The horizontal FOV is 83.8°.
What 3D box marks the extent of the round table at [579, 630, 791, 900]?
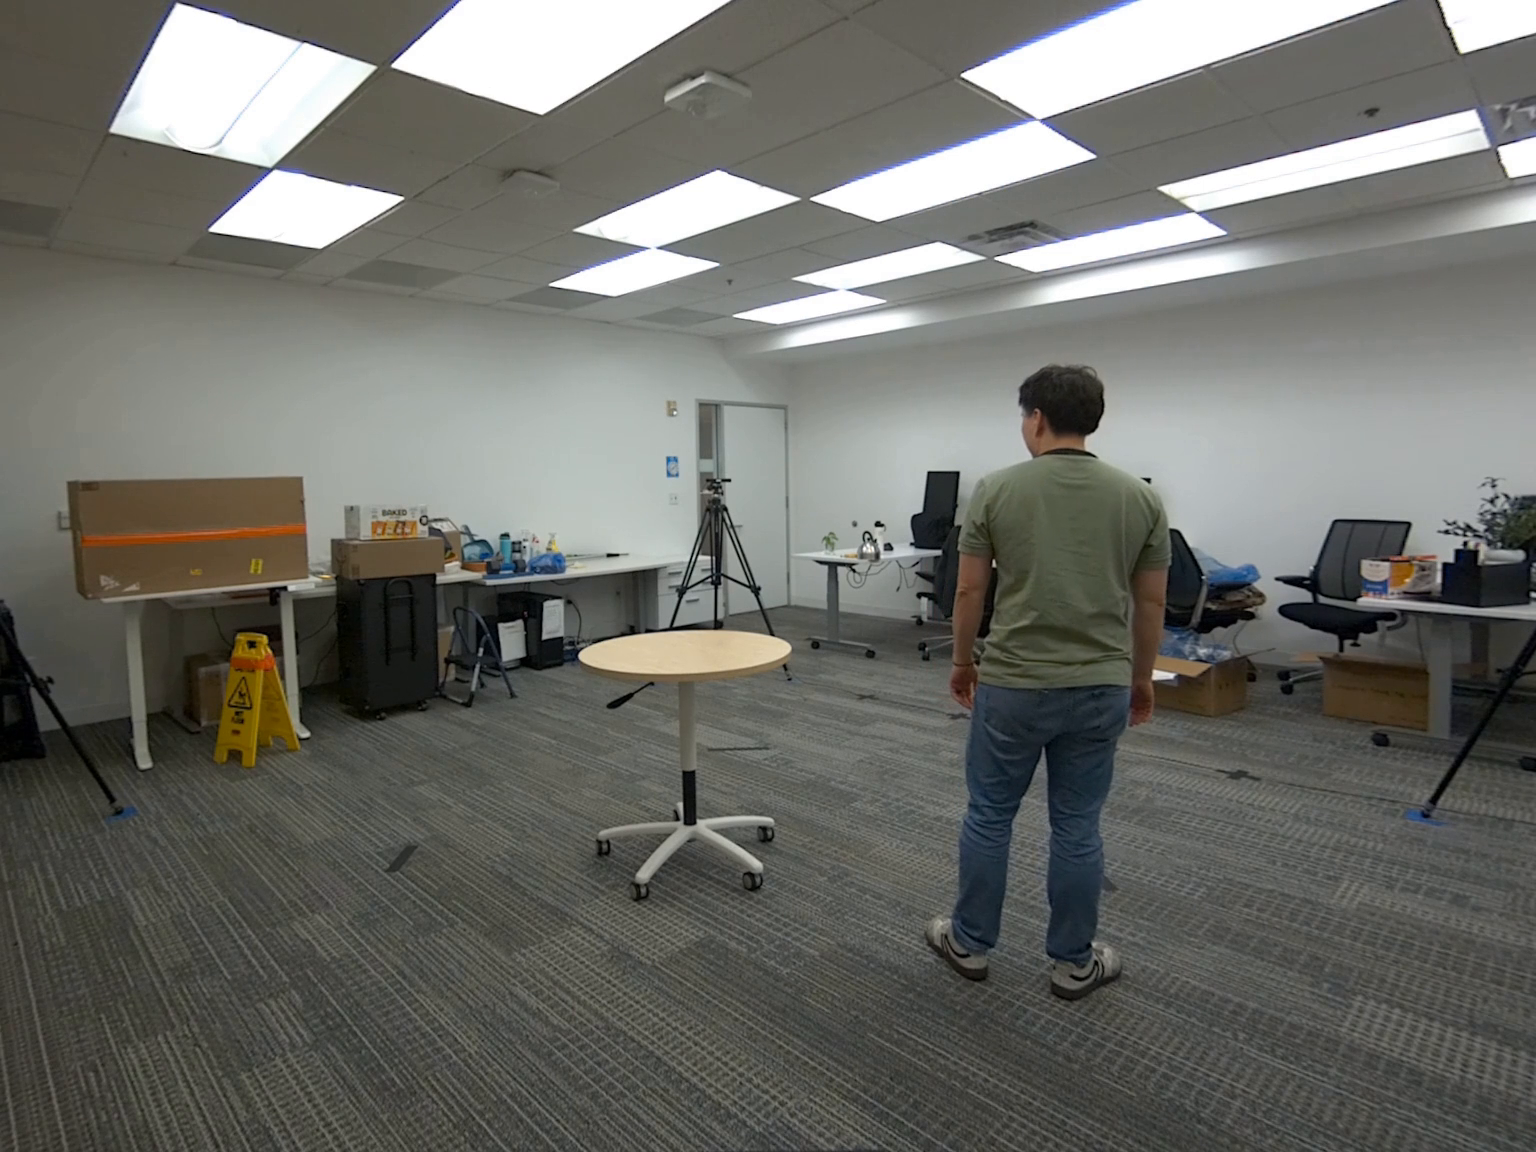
[{"bbox_3d":[-0.285,0.659,3.112,0.763,0.791,0.768,-2,5,-2],"label":"round table"}]
